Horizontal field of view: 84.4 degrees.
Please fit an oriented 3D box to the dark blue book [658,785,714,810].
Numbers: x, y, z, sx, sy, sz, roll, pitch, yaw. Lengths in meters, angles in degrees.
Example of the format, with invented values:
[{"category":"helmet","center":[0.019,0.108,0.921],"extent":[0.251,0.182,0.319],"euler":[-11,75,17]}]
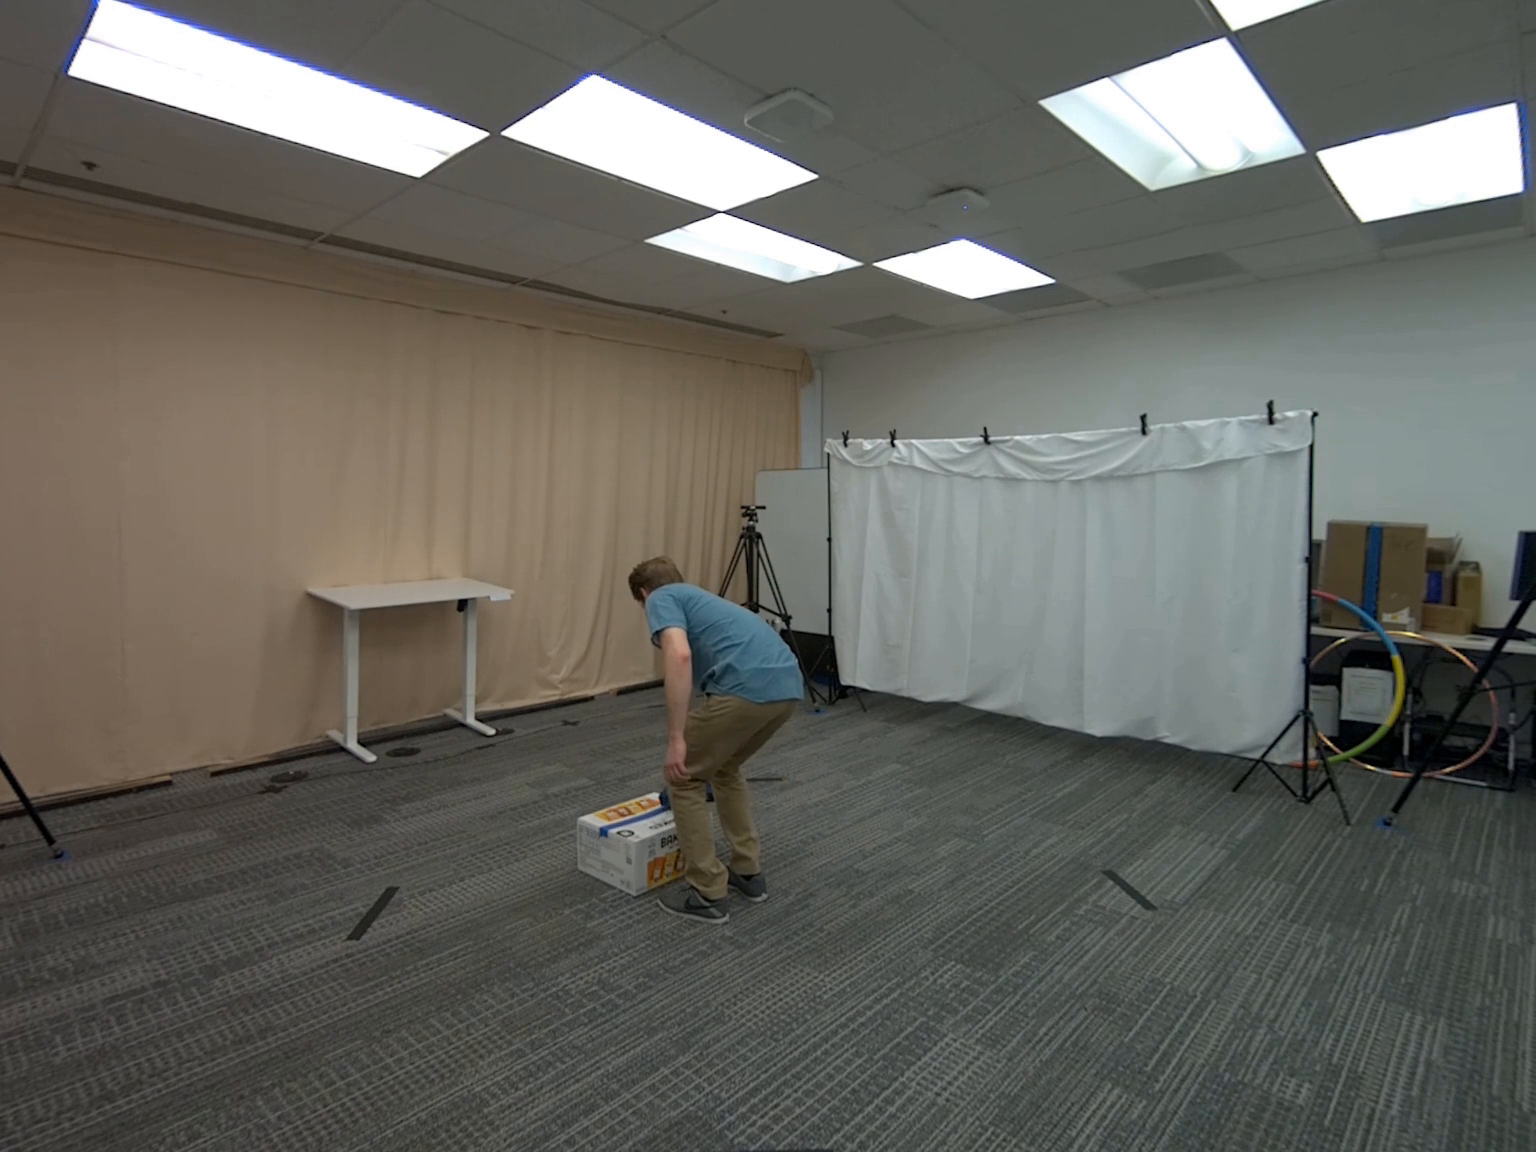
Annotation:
[{"category":"dark blue book","center":[-0.295,0.832,3.324],"extent":[0.249,0.045,0.162],"euler":[-13,13,21]}]
